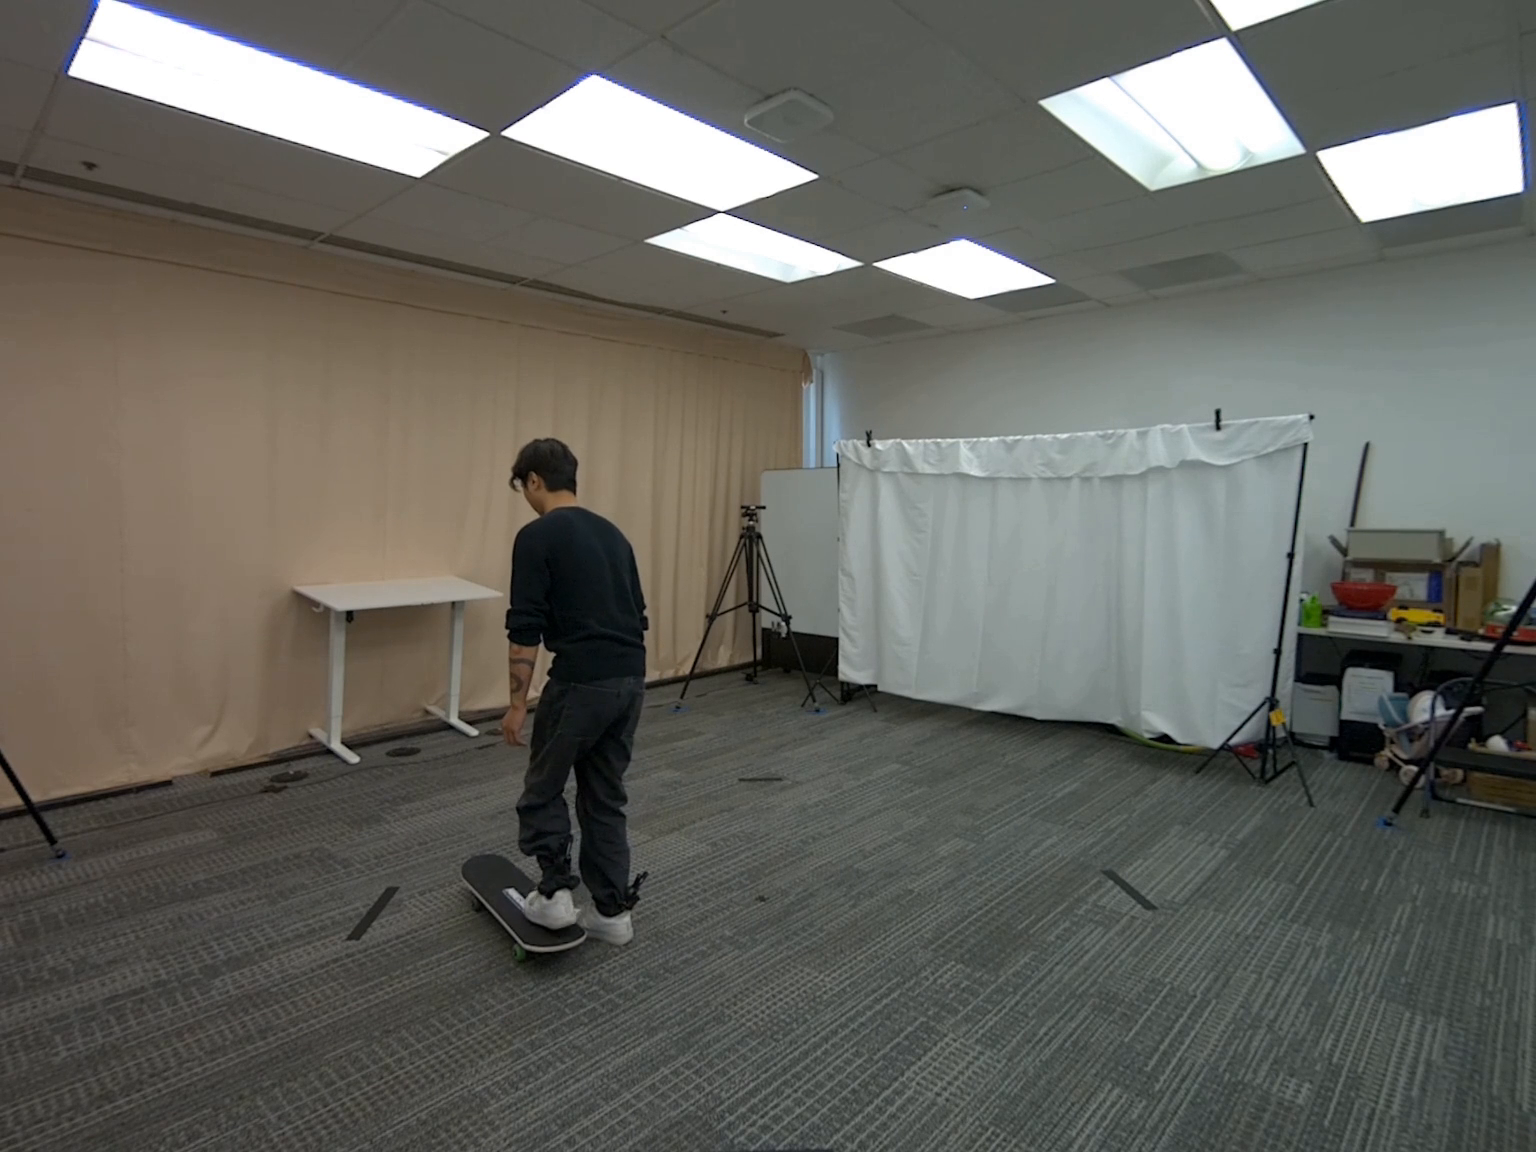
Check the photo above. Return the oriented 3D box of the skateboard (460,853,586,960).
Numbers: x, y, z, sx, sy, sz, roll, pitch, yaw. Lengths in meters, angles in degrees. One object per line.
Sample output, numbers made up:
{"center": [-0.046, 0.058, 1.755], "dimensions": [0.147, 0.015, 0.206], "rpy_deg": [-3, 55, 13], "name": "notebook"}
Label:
{"center": [-0.830, 1.110, 2.789], "dimensions": [0.188, 0.110, 0.811], "rpy_deg": [-3, 5, -37], "name": "skateboard"}
